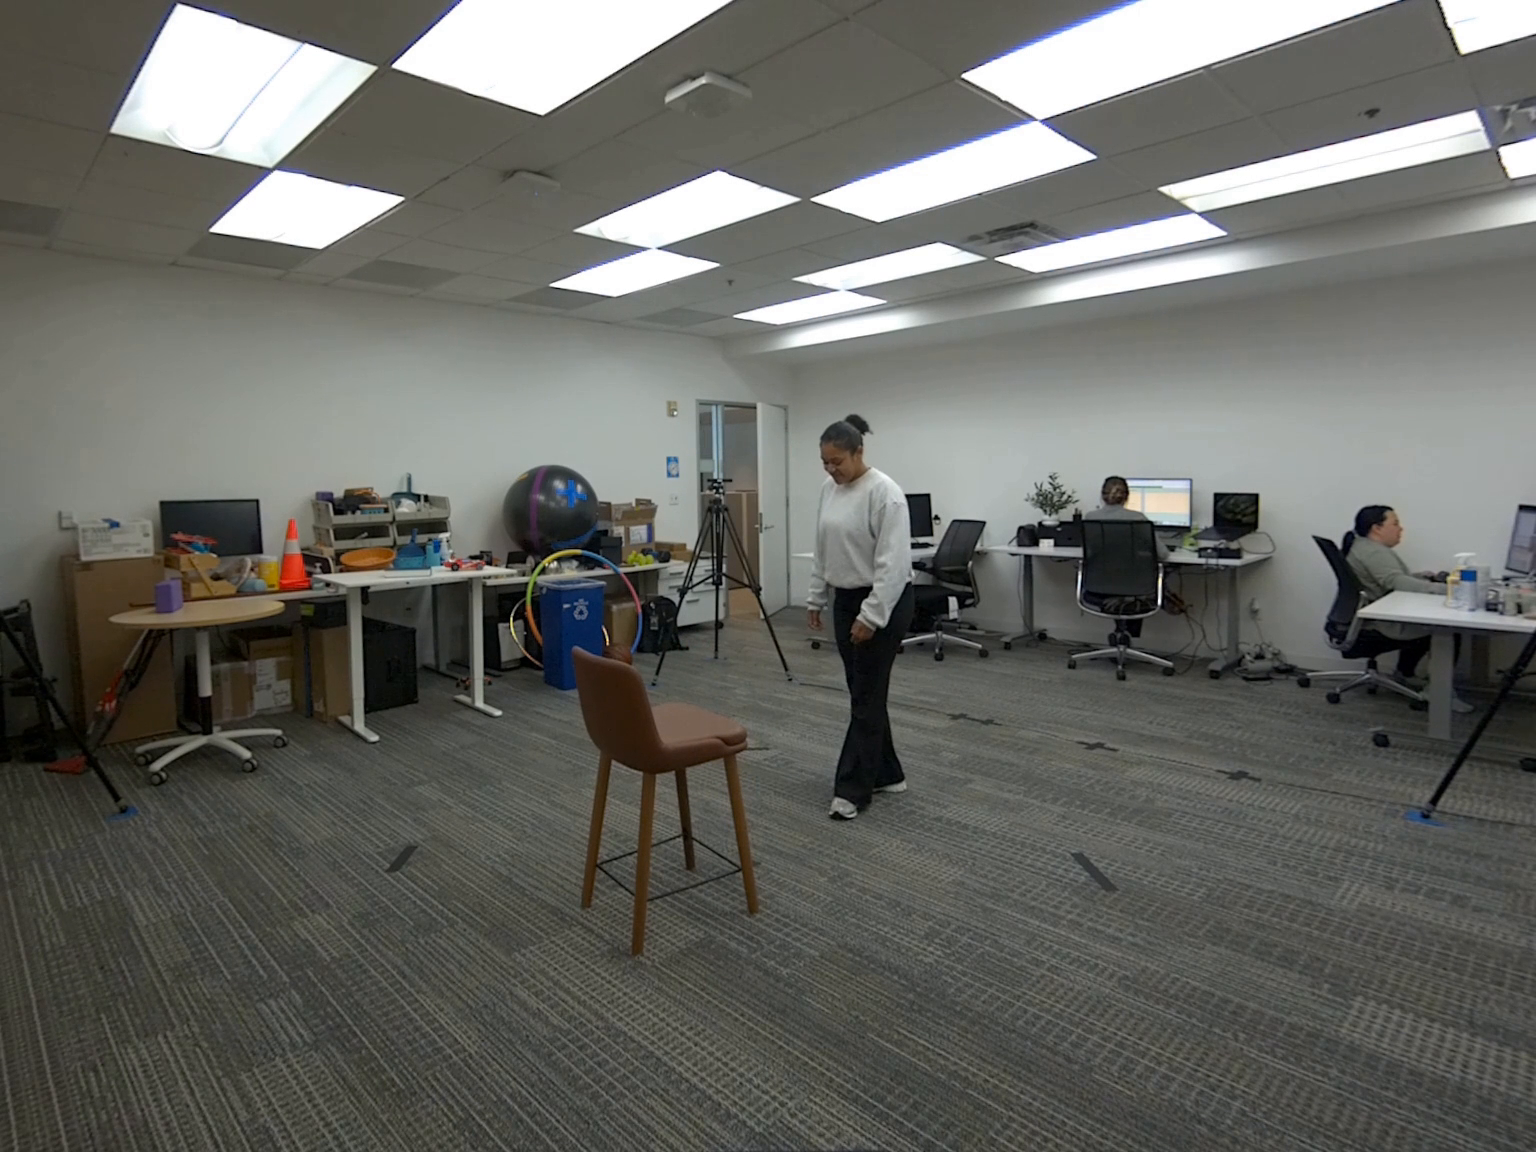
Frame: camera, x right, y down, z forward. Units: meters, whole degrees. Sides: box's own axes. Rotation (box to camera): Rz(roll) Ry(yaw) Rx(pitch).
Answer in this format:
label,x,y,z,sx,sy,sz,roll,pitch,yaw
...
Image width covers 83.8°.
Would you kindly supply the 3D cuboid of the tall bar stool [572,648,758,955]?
label,x,y,z,sx,sy,sz,roll,pitch,yaw
tall bar stool,-0.340,0.656,2.762,0.456,0.885,0.470,-7,7,-36
